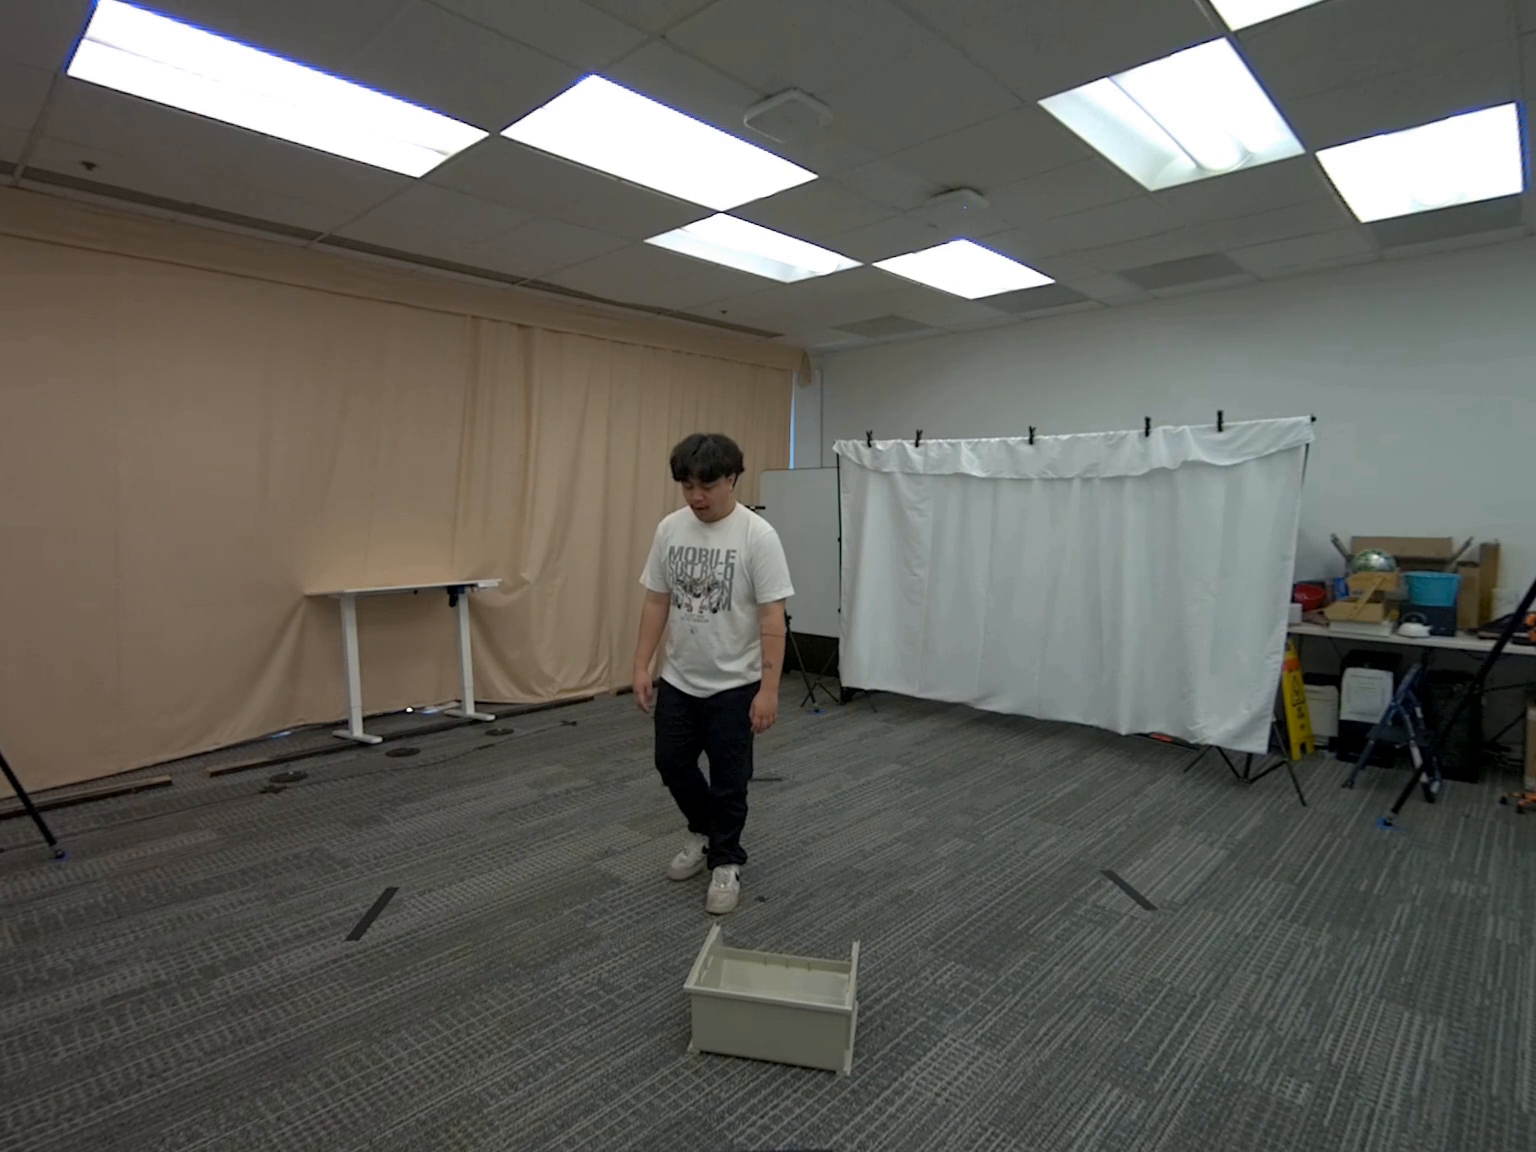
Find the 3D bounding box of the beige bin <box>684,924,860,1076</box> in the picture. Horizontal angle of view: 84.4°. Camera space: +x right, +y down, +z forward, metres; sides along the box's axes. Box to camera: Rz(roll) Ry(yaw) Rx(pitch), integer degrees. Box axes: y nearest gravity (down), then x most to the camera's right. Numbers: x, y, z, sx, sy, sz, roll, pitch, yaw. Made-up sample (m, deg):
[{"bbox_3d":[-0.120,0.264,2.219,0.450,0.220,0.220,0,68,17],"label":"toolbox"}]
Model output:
[{"bbox_3d":[0.031,1.116,2.262,0.428,0.188,0.373,2,5,12],"label":"beige bin"}]
